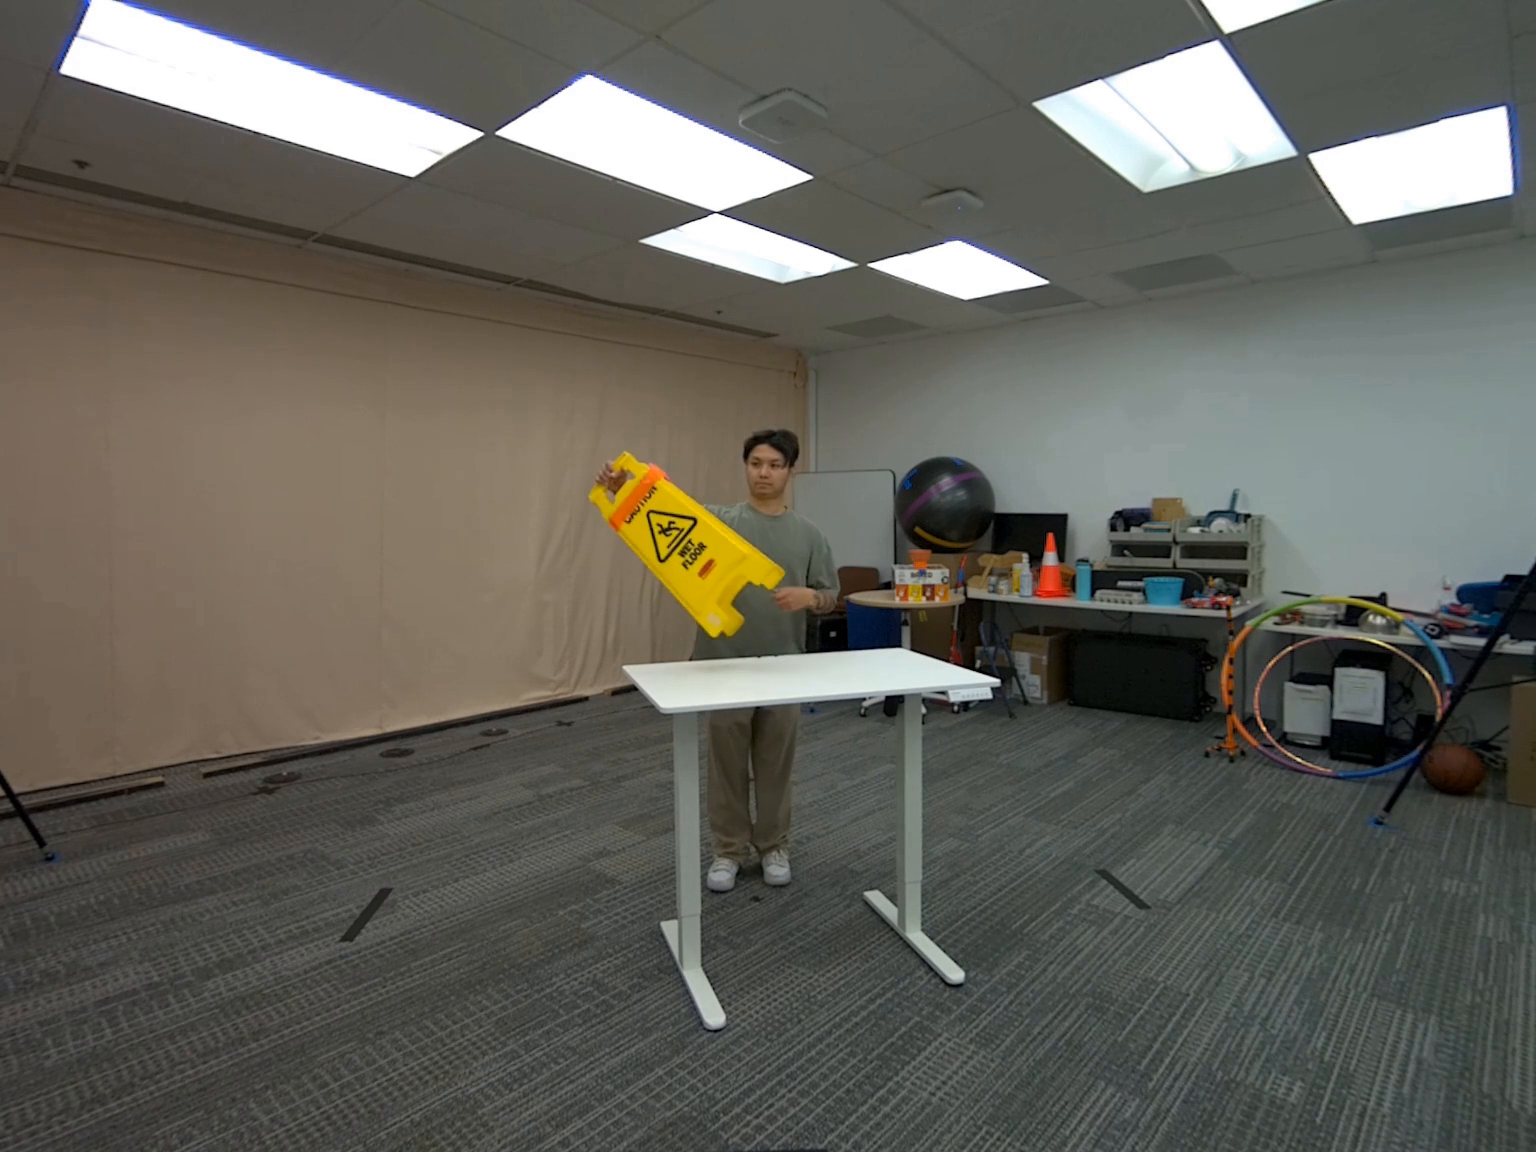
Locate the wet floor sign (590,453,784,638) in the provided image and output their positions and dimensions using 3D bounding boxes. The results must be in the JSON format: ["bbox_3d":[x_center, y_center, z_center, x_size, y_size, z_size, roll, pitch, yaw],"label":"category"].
[{"bbox_3d":[-0.282,-0.115,2.694,0.655,0.282,0.285,42,5,11],"label":"wet floor sign"}]
